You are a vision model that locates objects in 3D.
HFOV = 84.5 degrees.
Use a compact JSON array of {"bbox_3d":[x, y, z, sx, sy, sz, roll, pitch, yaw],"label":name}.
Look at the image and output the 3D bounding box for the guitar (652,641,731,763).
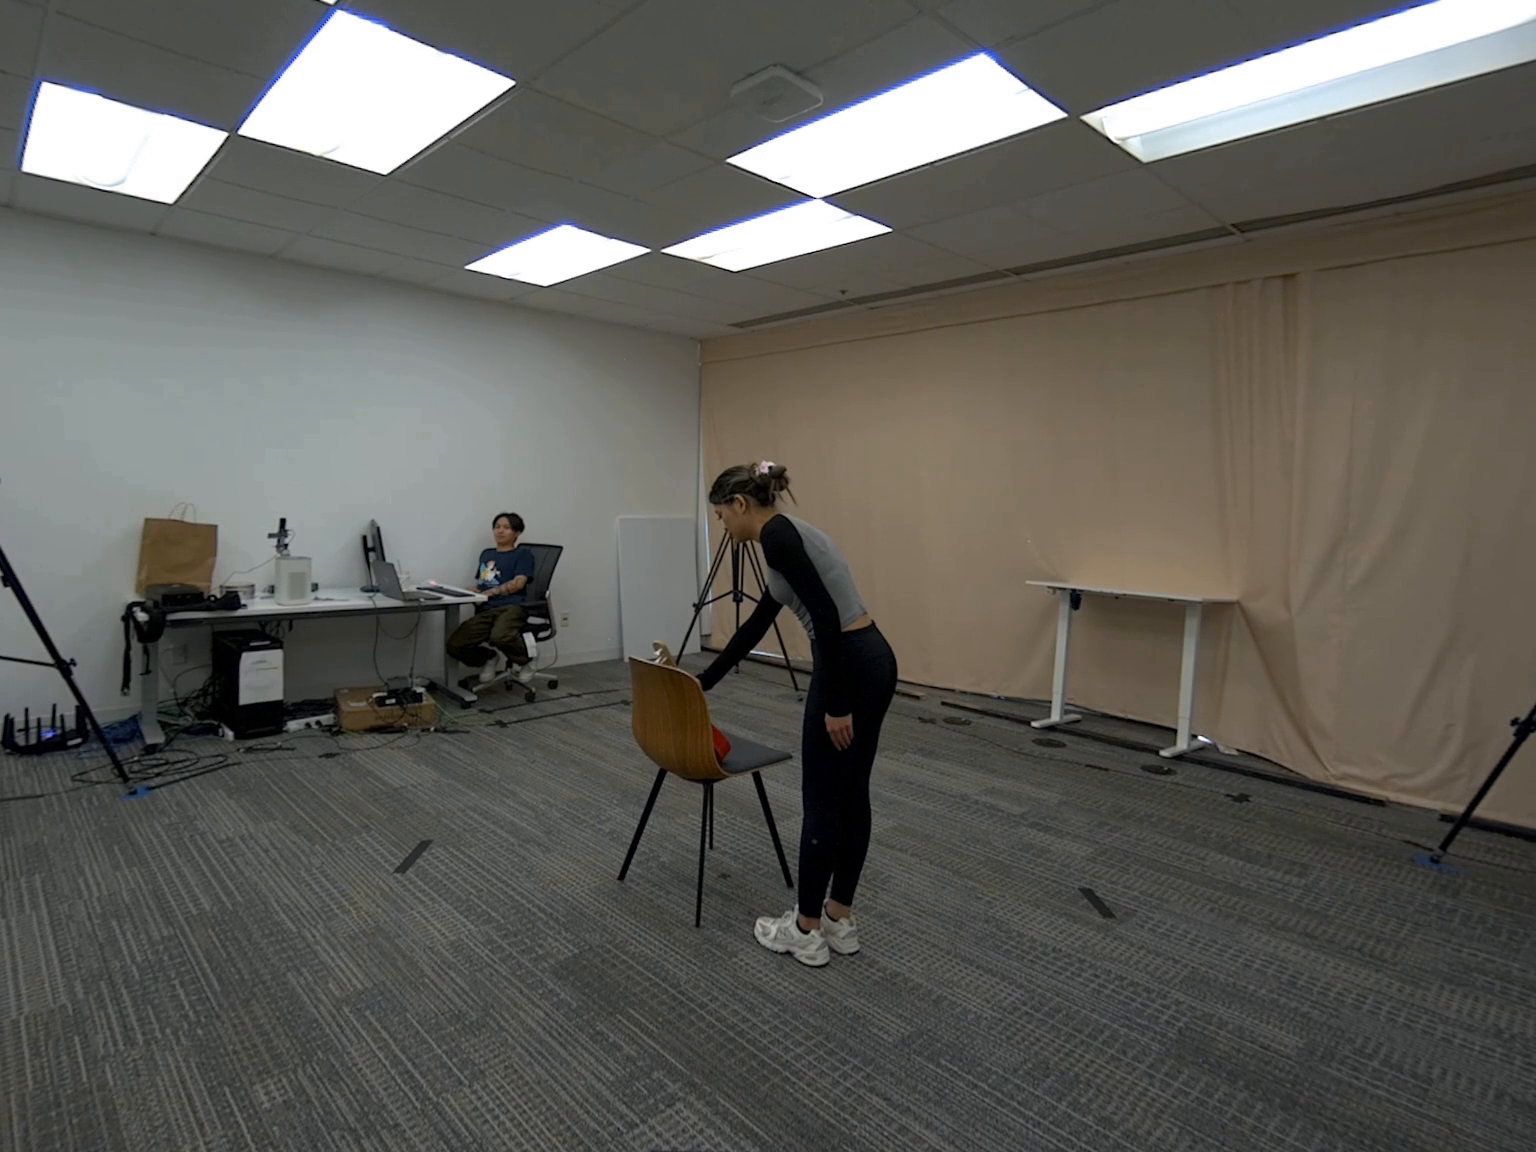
[{"bbox_3d":[-0.310,0.433,2.869,0.197,0.489,0.070,-8,28,48],"label":"guitar"}]
